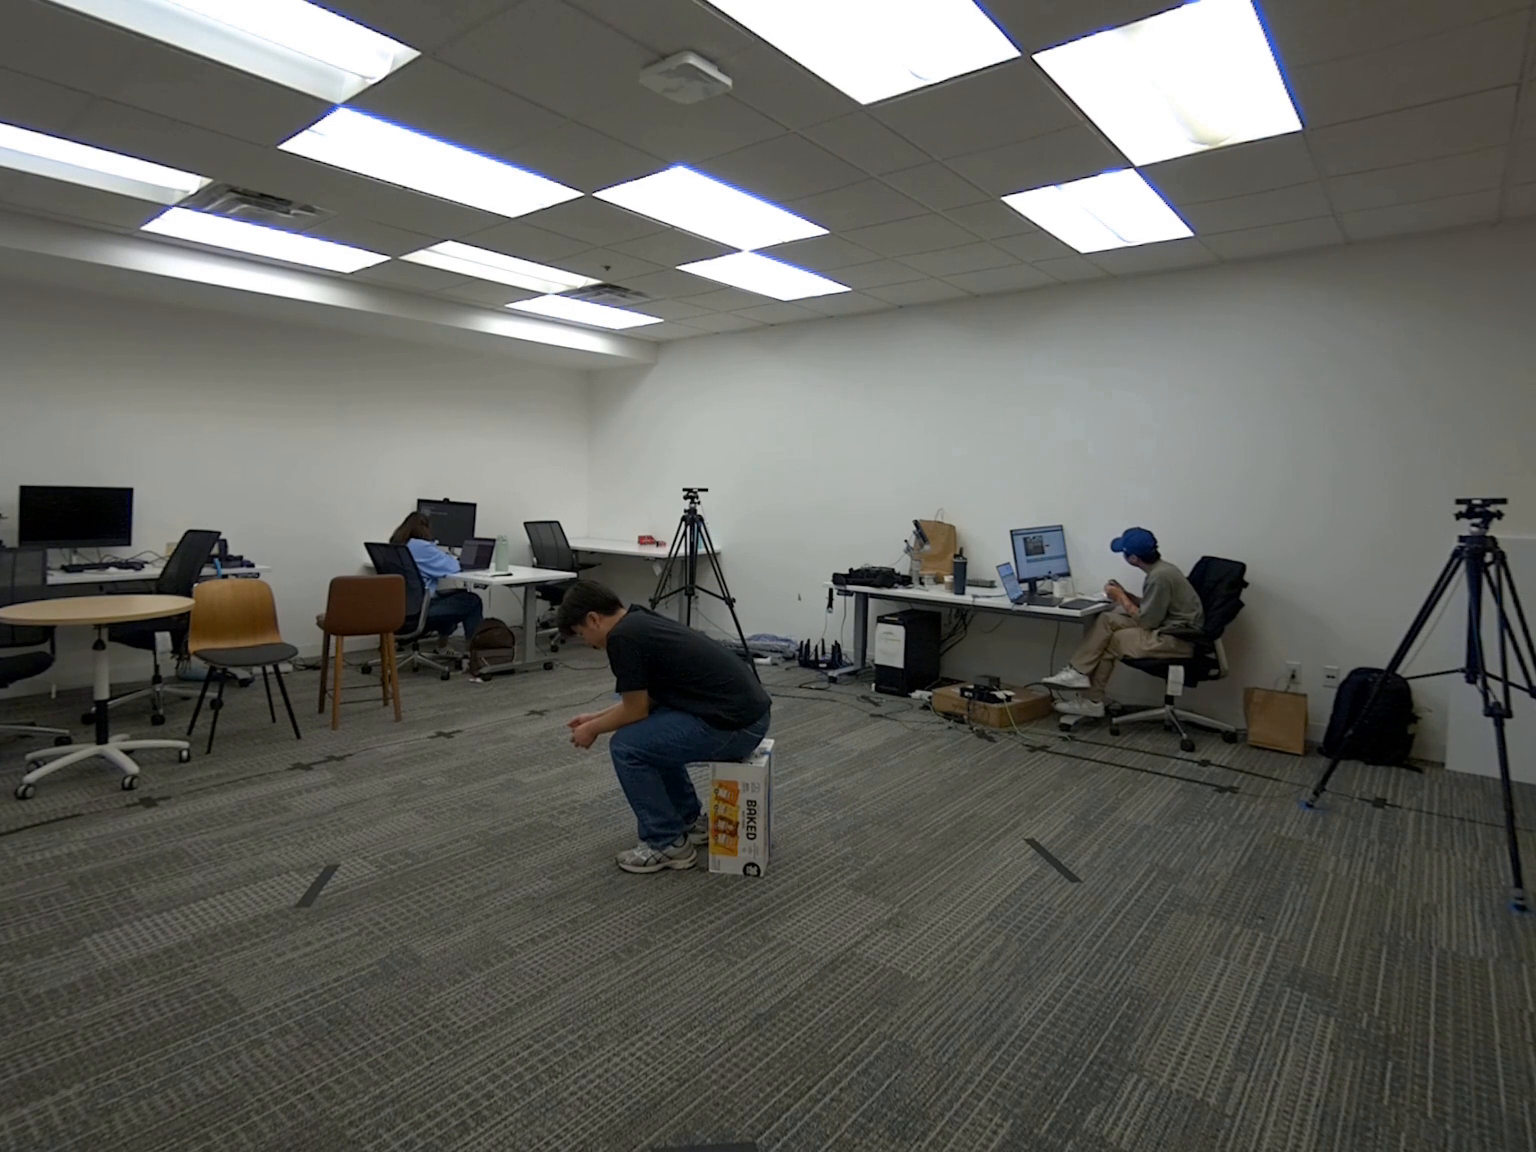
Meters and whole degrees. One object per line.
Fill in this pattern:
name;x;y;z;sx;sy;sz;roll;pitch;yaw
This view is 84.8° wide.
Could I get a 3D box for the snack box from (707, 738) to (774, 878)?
snack box;-0.104;0.860;3.223;0.208;0.404;0.338;1;4;8
